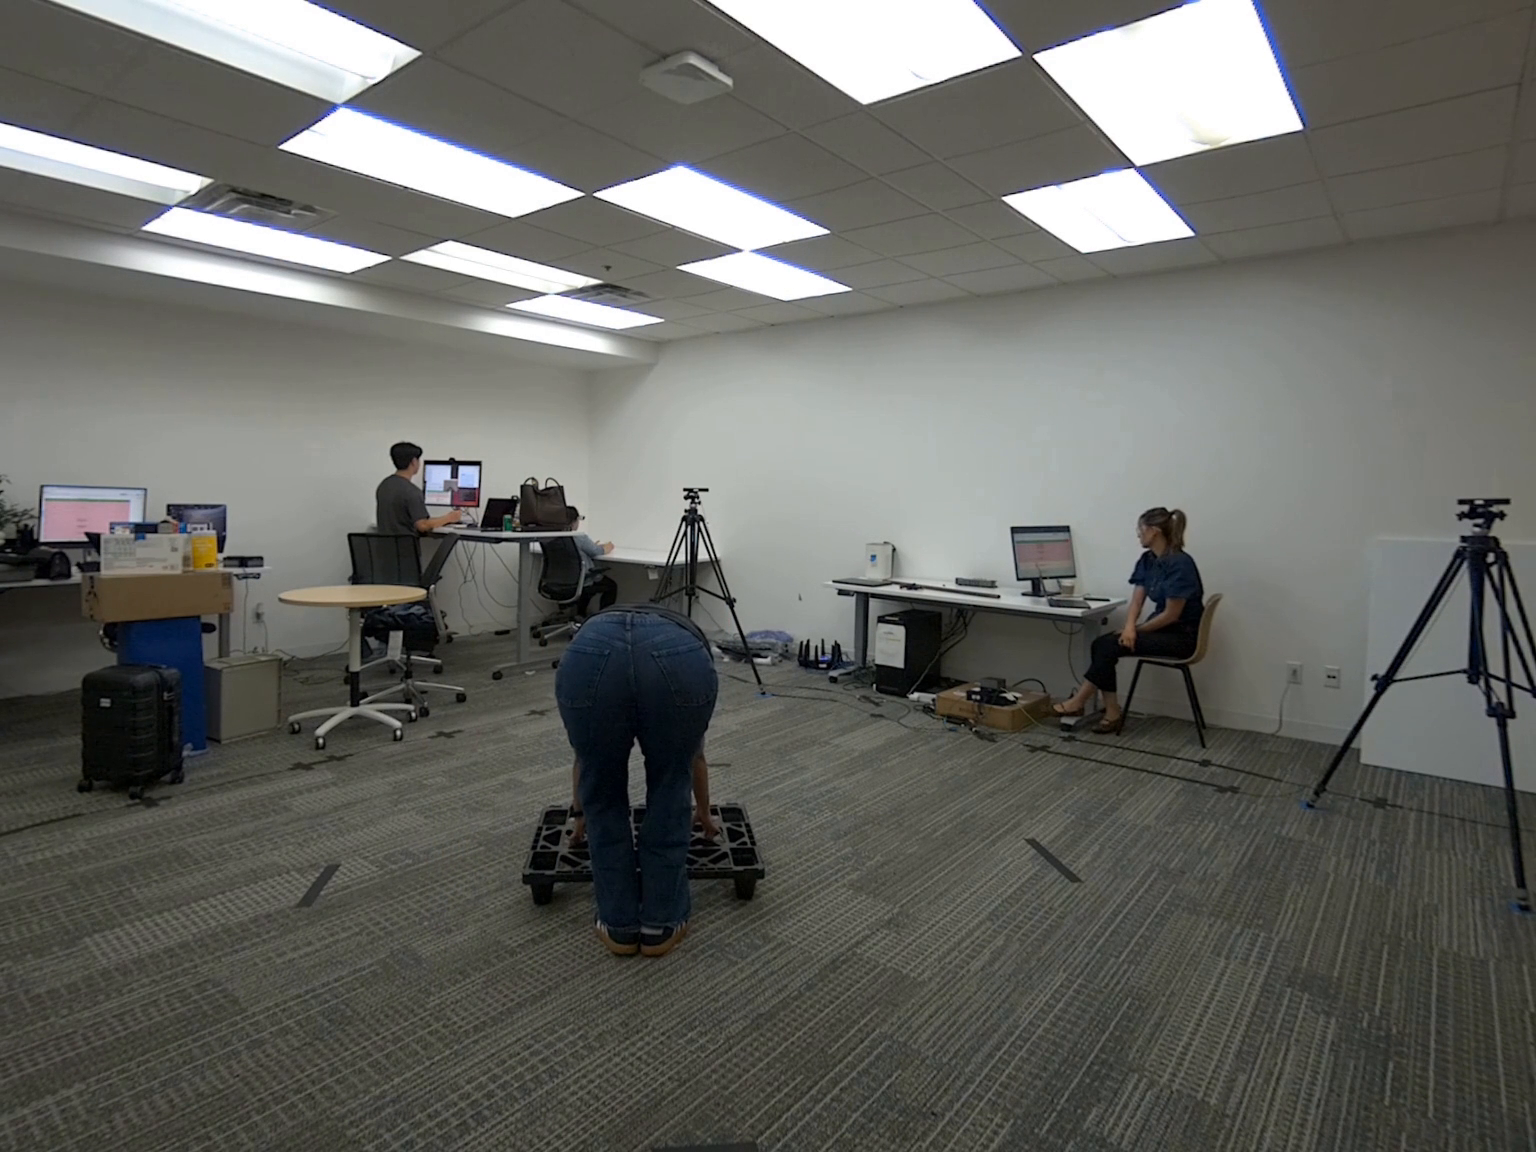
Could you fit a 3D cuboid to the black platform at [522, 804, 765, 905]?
[{"bbox_3d":[-0.458,0.997,3.080,0.801,0.143,0.611,1,5,-6],"label":"black platform"}]
